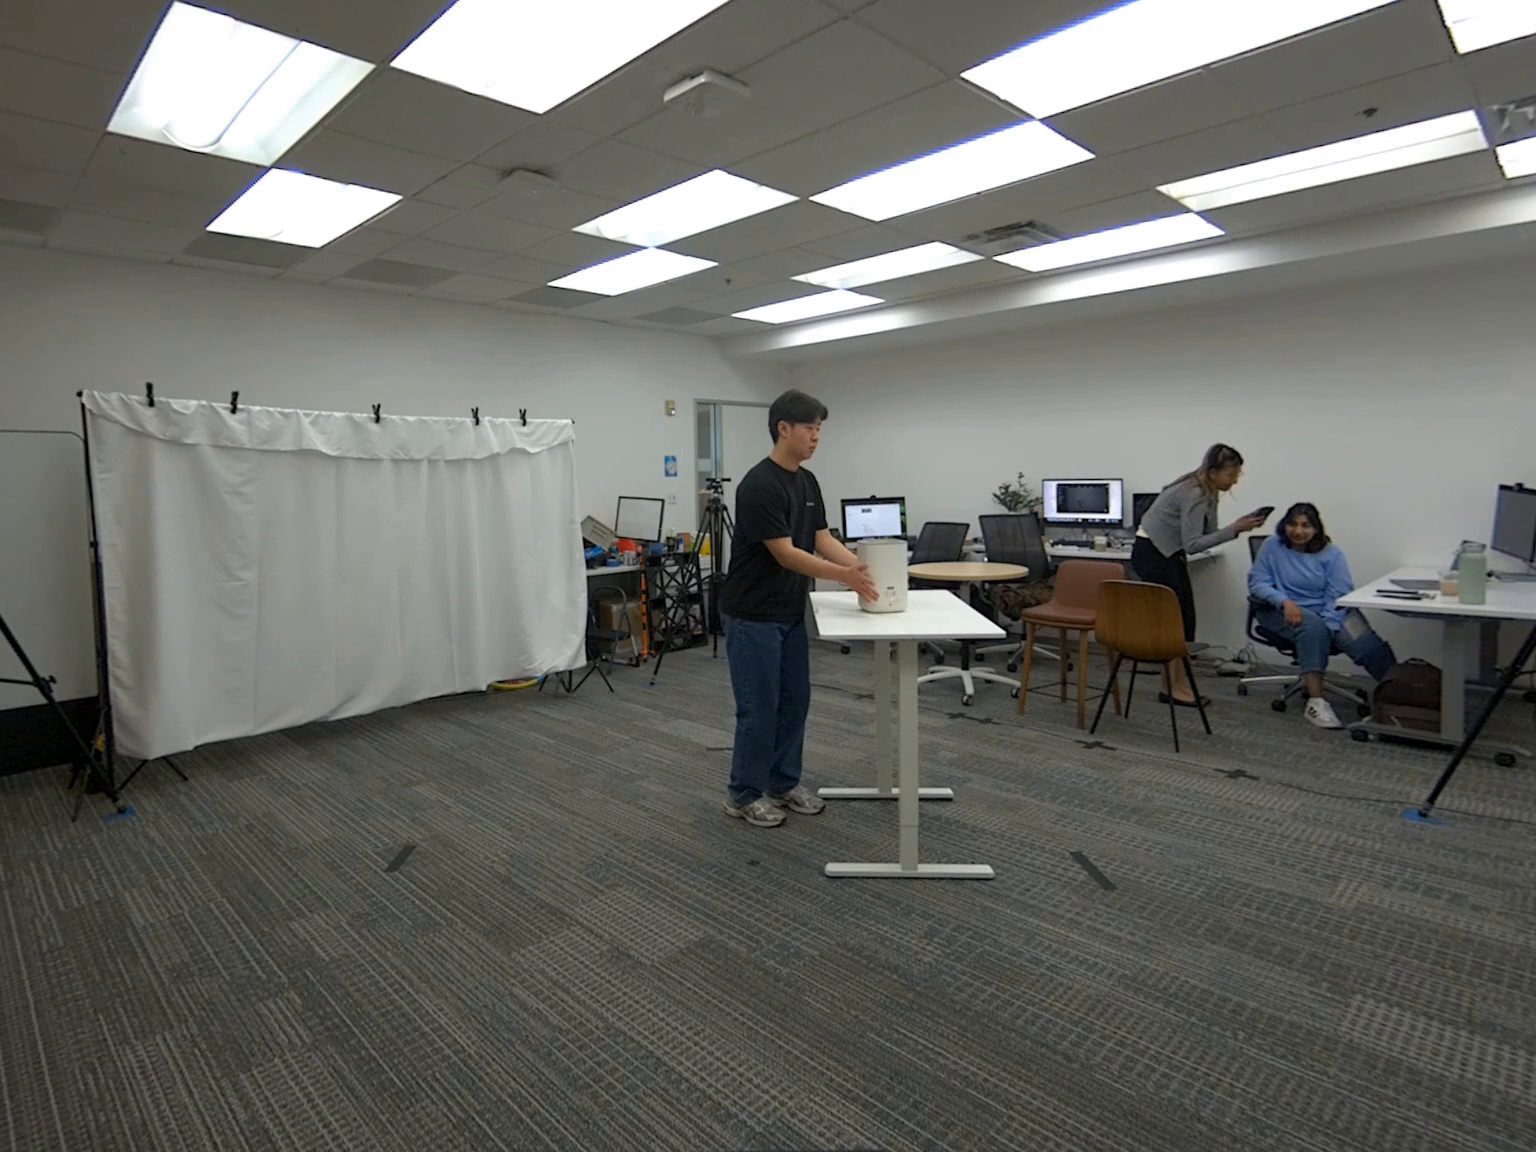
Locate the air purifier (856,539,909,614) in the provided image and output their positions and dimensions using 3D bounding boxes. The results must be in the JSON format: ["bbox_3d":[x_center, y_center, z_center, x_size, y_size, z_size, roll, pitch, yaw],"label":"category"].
[{"bbox_3d":[0.437,-0.003,3.263,0.170,0.264,0.174,-4,5,-9],"label":"air purifier"}]
